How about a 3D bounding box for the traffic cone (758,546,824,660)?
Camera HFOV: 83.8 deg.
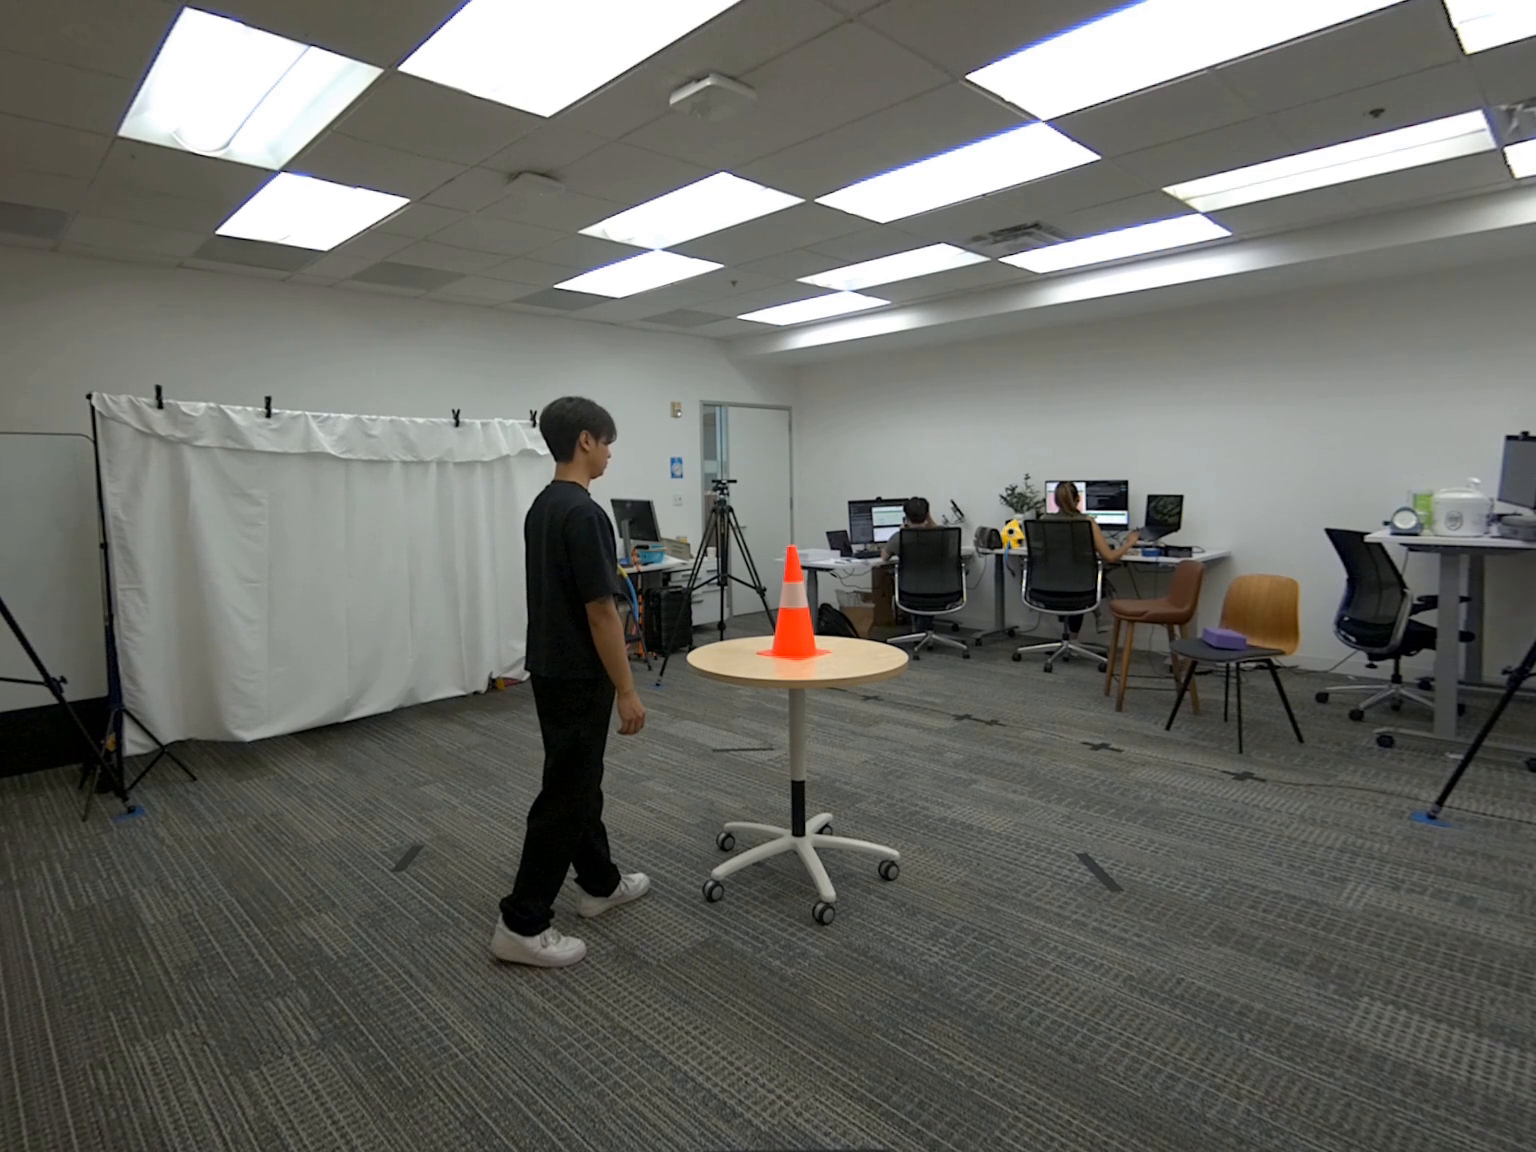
[{"bbox_3d":[0.084,0.088,3.010,0.209,0.382,0.200,1,5,38],"label":"traffic cone"}]
